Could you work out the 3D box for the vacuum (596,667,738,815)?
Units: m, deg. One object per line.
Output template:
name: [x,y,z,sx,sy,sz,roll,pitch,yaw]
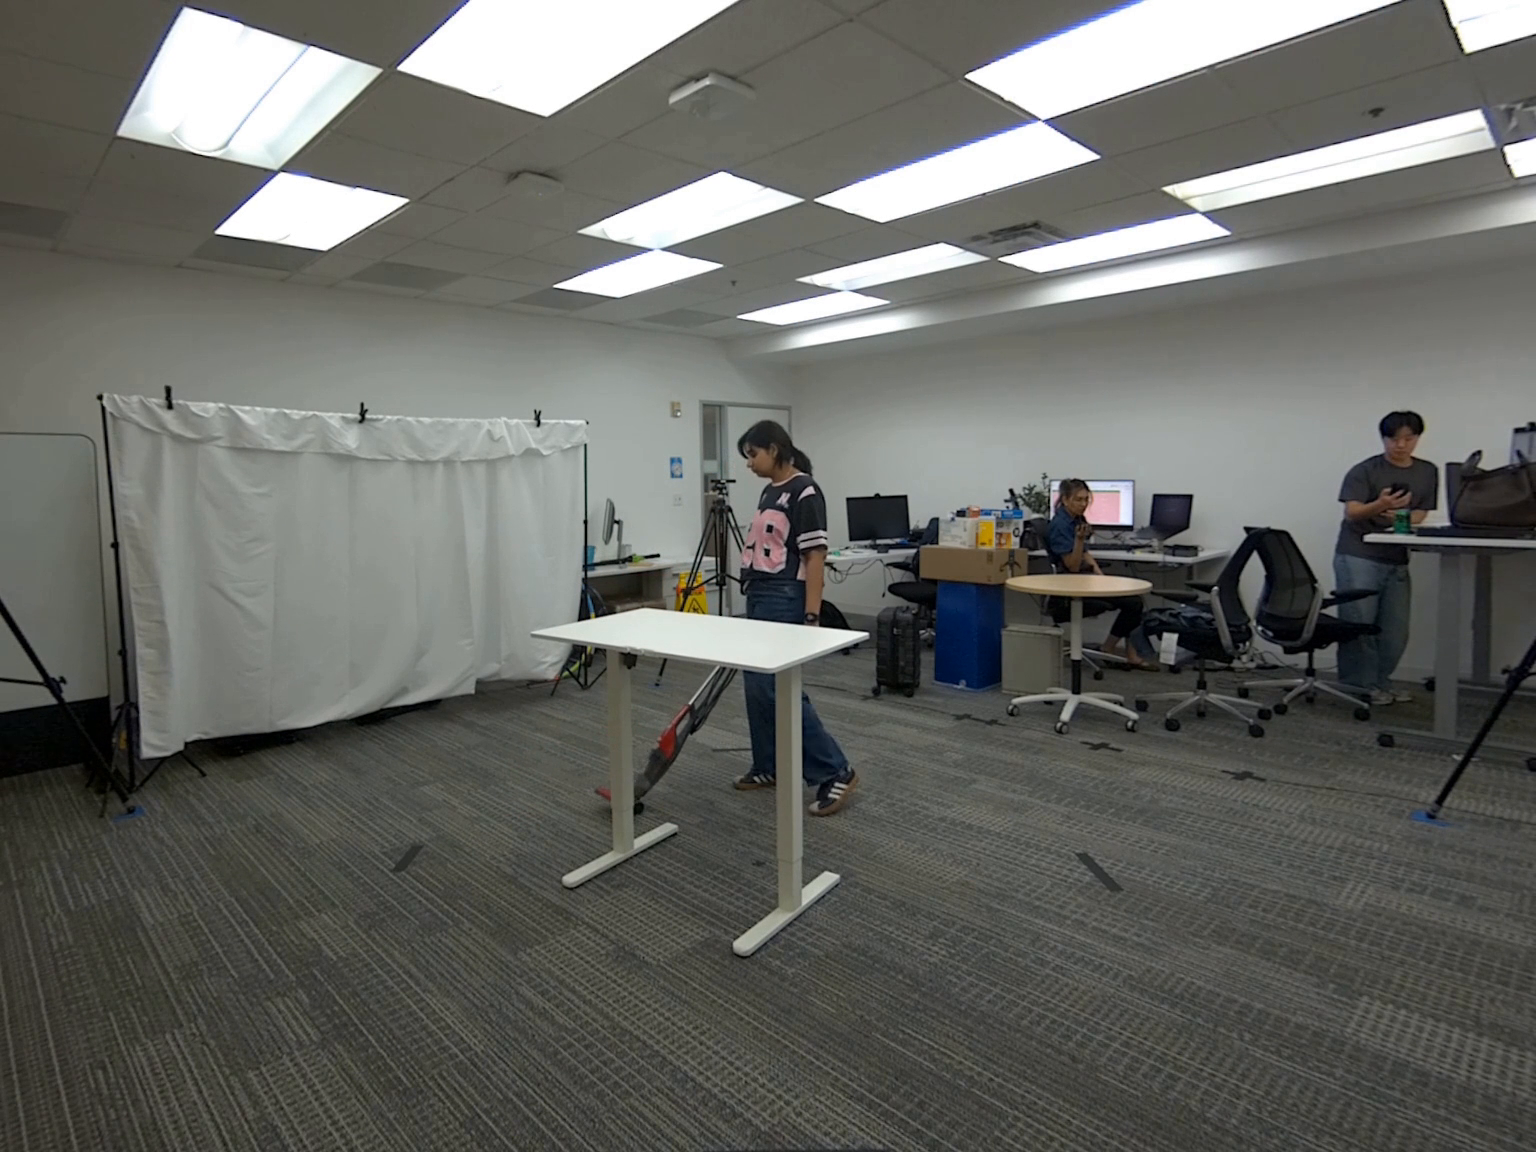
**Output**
vacuum: [-0.330,0.603,3.840,0.261,0.139,1.051,9,51,45]
